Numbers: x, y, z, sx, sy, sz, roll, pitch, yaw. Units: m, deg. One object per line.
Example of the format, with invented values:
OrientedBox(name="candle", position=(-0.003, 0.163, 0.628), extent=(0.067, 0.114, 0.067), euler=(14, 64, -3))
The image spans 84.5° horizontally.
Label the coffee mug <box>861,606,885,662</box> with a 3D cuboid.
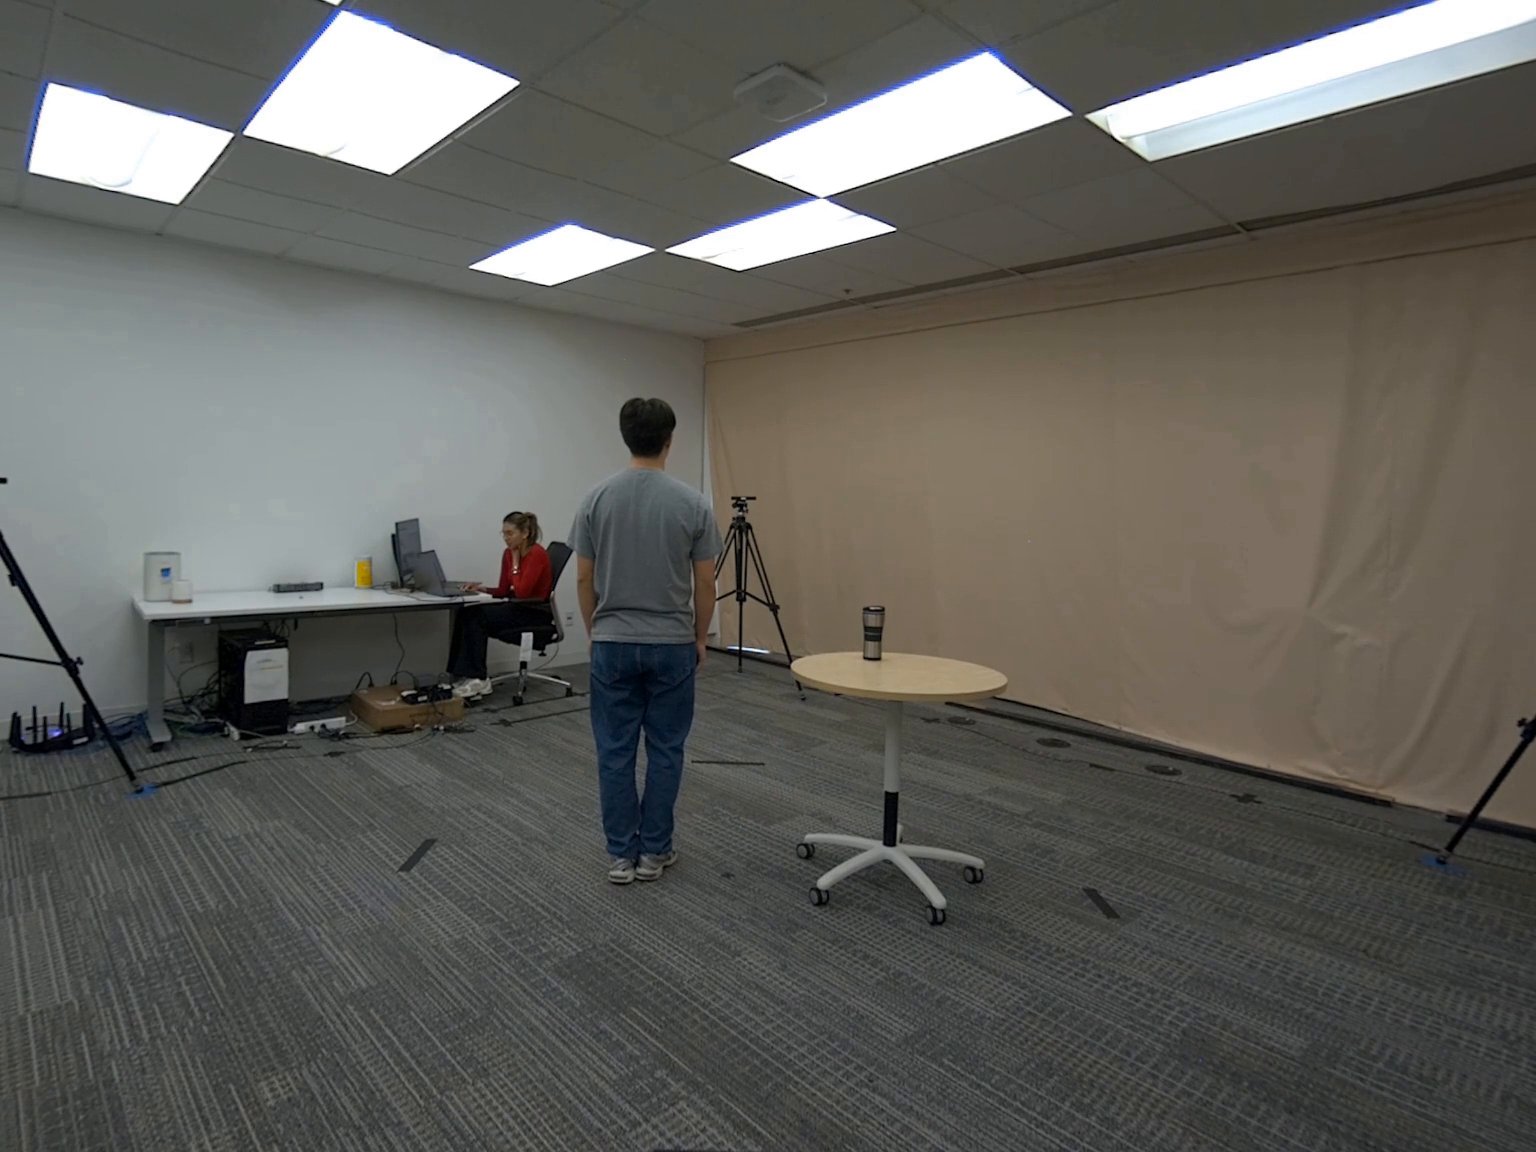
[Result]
OrientedBox(name="coffee mug", position=(0.425, 0.223, 3.275), extent=(0.090, 0.202, 0.119), euler=(2, 4, 45))
